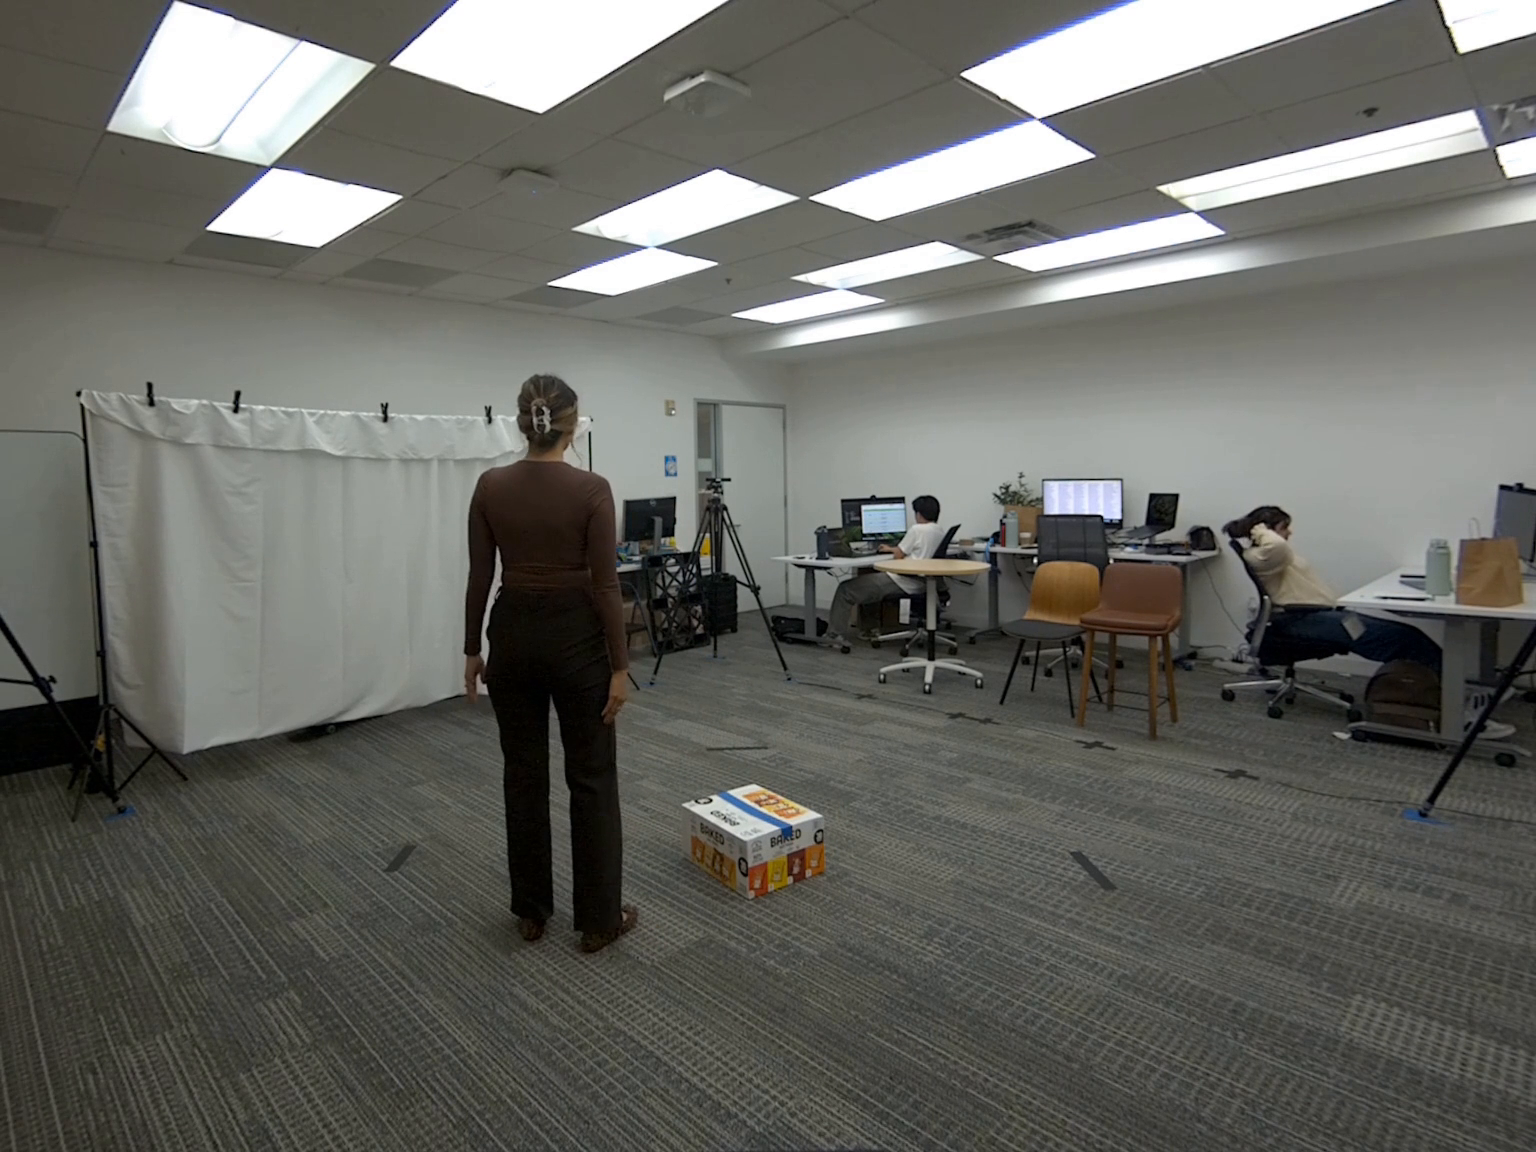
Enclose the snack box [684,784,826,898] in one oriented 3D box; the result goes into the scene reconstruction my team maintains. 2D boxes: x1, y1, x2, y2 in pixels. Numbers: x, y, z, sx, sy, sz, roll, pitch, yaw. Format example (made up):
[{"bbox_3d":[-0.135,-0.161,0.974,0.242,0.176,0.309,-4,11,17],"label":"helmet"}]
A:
[{"bbox_3d":[-0.058,0.944,3.082,0.332,0.205,0.417,-5,7,-37],"label":"snack box"}]
